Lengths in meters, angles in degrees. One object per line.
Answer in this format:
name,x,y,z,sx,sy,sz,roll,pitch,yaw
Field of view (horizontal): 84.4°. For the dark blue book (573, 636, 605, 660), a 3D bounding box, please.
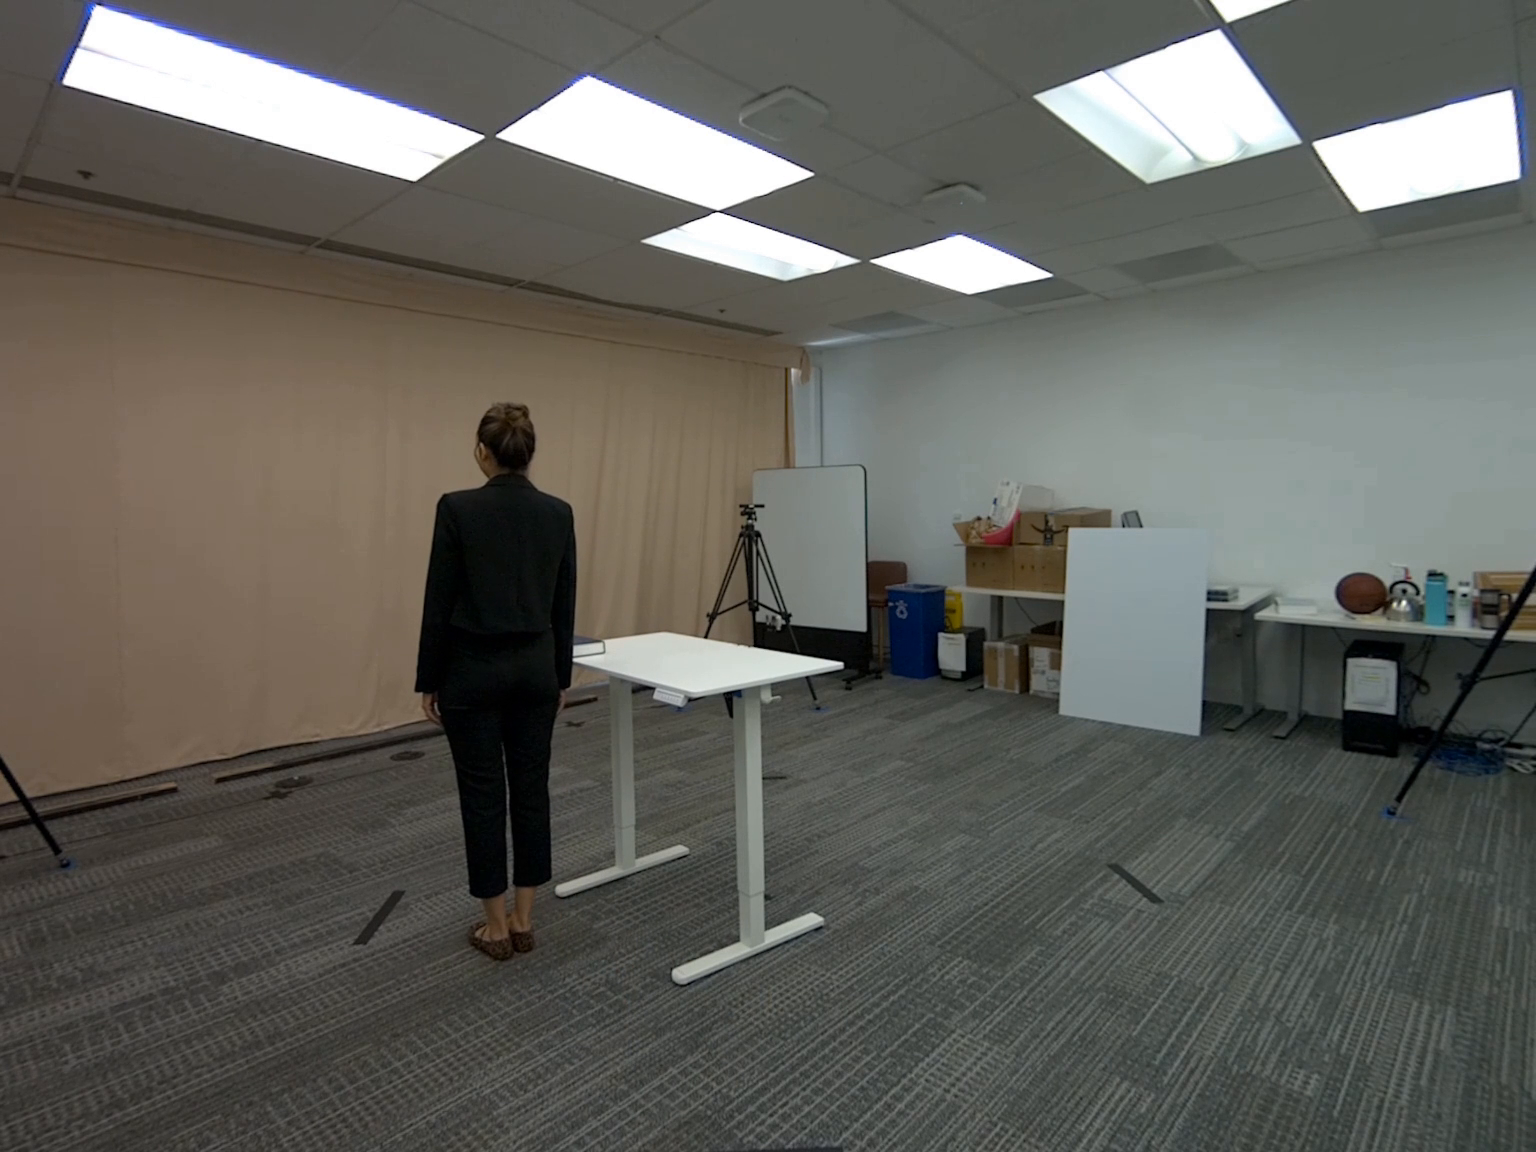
dark blue book,-0.699,0.248,3.015,0.158,0.045,0.253,-4,5,-36
